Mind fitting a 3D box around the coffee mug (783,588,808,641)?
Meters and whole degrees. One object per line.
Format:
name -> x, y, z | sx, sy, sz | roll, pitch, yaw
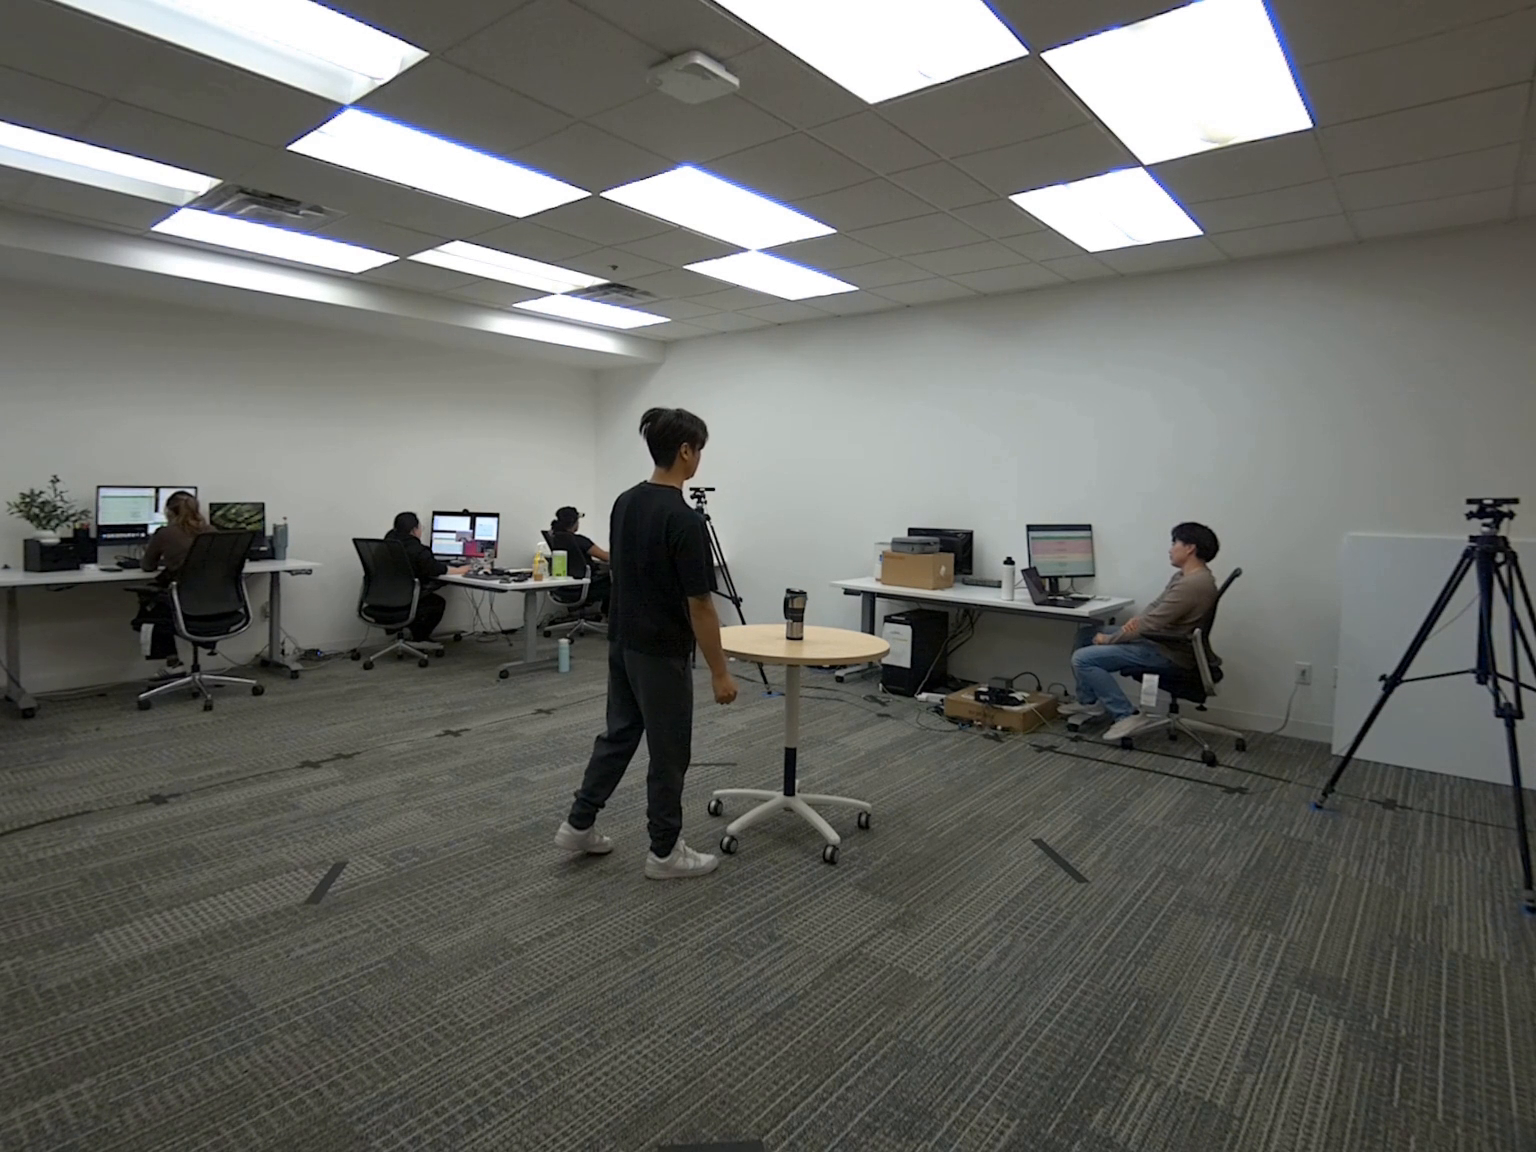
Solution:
coffee mug -> 0.089, 0.153, 3.463 | 0.118, 0.202, 0.091 | 4, 7, -31
